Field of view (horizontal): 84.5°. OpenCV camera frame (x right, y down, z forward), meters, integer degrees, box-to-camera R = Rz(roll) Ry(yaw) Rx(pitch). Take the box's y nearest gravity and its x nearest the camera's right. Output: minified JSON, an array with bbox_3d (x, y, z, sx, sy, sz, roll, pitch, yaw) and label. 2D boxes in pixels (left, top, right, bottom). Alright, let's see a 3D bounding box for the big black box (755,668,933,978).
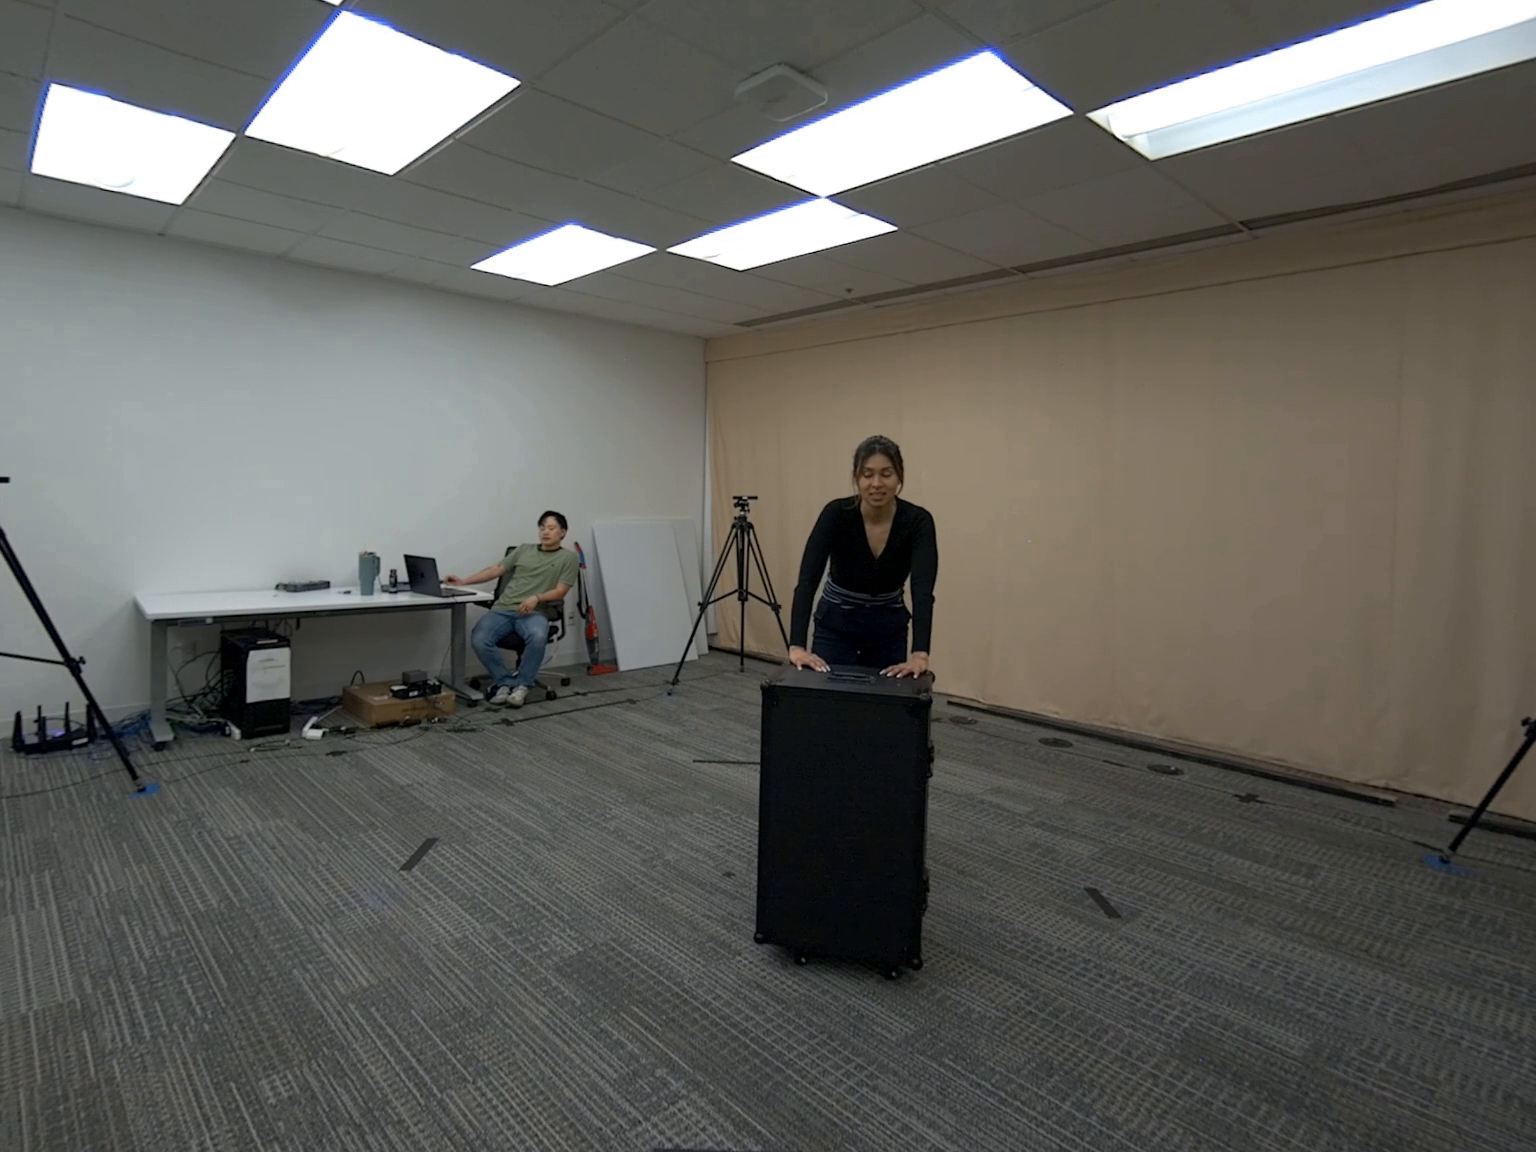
[{"bbox_3d":[0.234,0.733,2.601,0.527,0.860,0.392,2,3,13],"label":"big black box"}]
